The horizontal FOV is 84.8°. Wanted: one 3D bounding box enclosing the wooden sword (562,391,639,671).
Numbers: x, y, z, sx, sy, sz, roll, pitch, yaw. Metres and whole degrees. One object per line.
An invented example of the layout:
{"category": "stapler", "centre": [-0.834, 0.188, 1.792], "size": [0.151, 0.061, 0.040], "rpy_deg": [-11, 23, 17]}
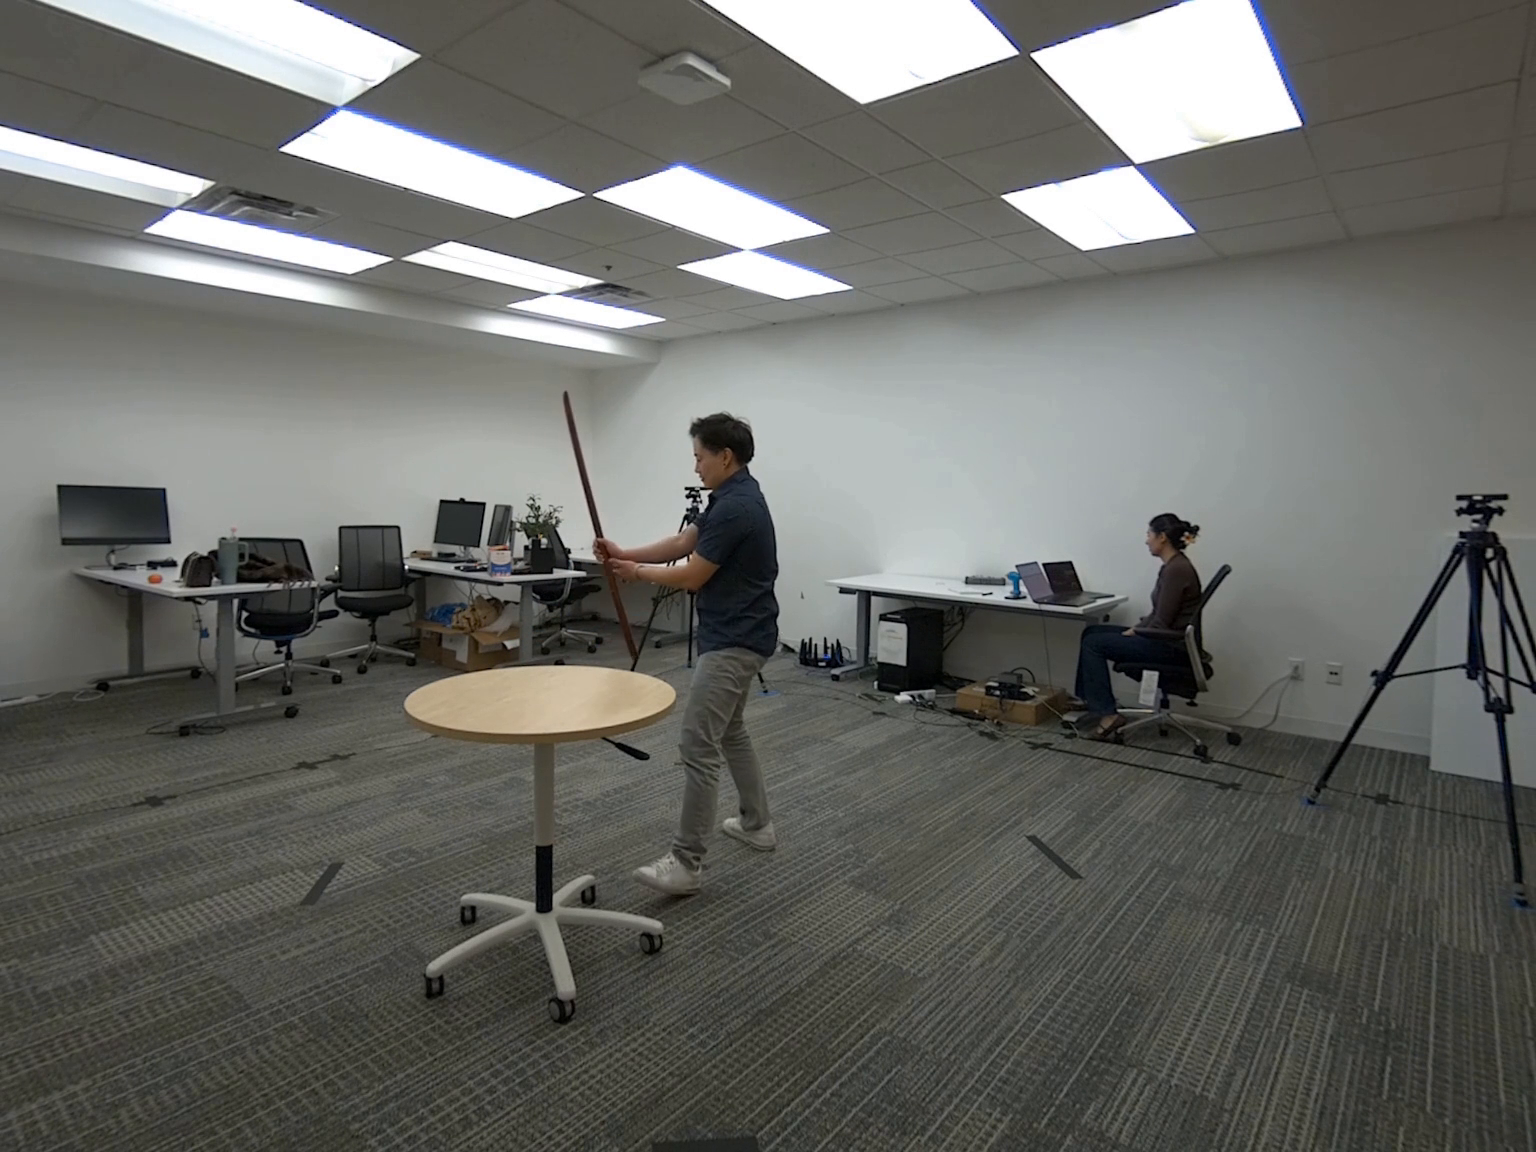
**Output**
{"category": "wooden sword", "centre": [-0.645, -0.168, 3.157], "size": [0.051, 1.018, 0.024], "rpy_deg": [-14, 5, 3]}
